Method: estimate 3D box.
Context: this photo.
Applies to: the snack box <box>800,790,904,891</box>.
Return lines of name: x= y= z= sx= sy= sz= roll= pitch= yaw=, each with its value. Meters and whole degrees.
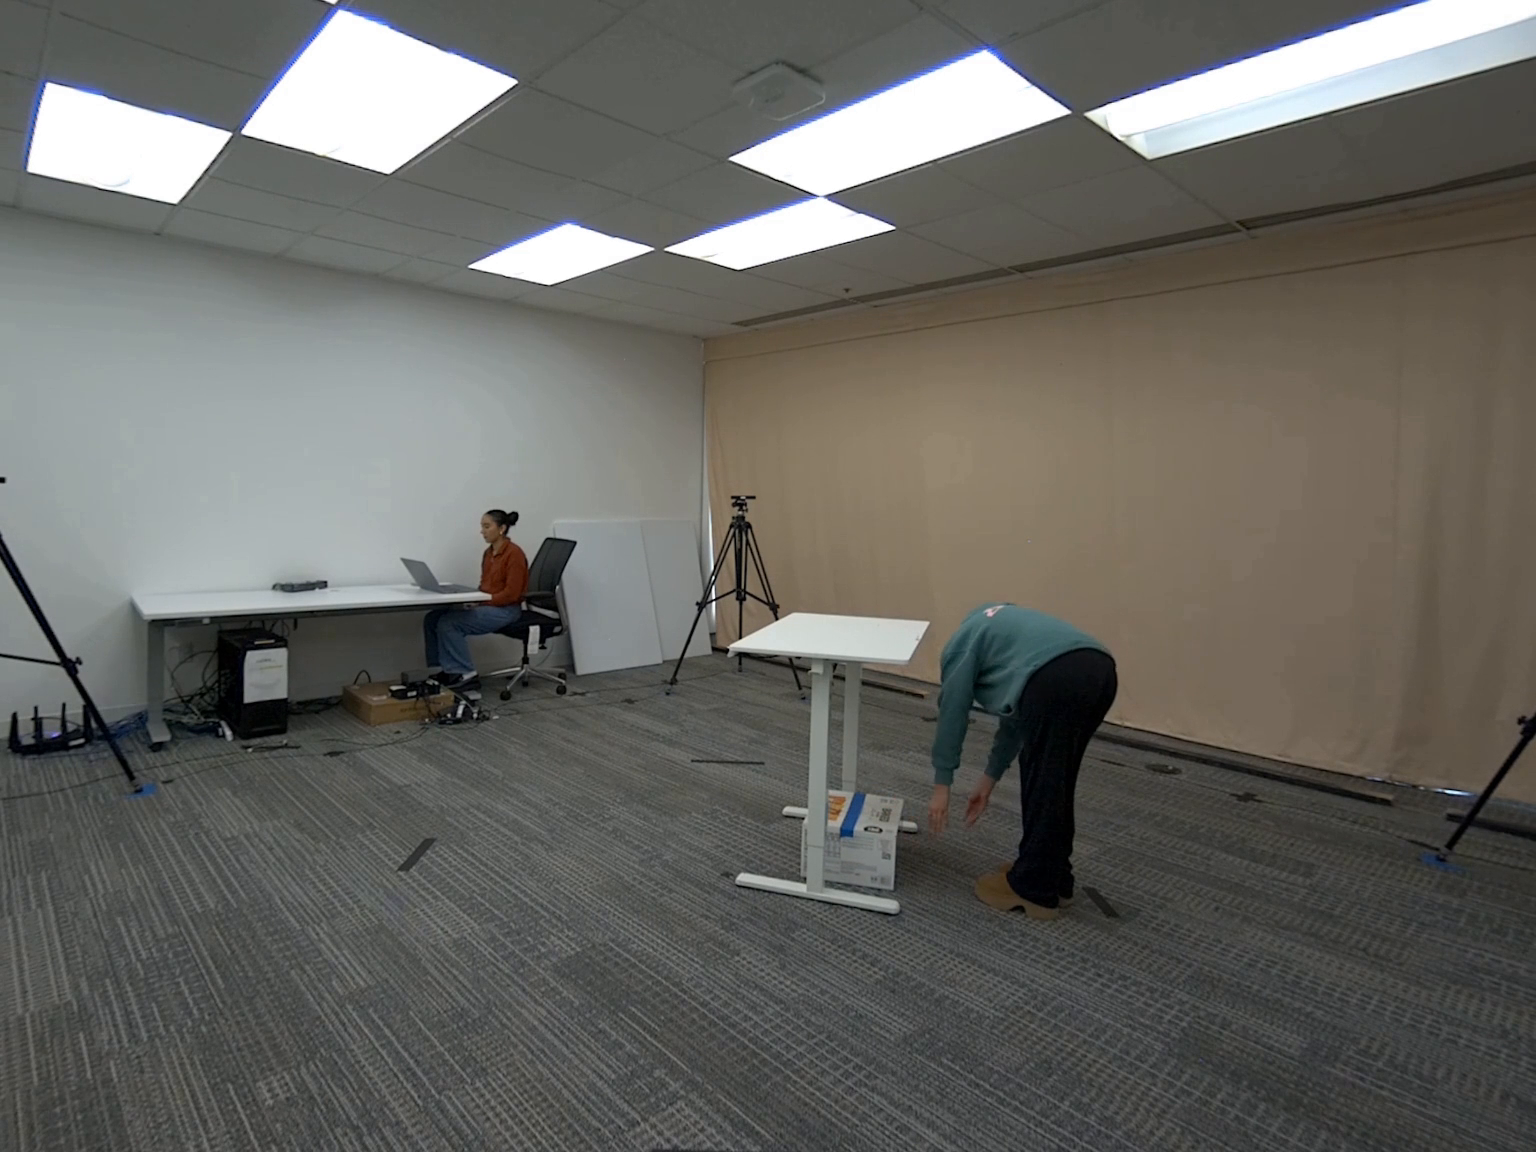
snack box: x=0.327 y=1.000 z=3.228 sx=0.344 sy=0.205 sz=0.401 roll=3 pitch=5 yaw=13
